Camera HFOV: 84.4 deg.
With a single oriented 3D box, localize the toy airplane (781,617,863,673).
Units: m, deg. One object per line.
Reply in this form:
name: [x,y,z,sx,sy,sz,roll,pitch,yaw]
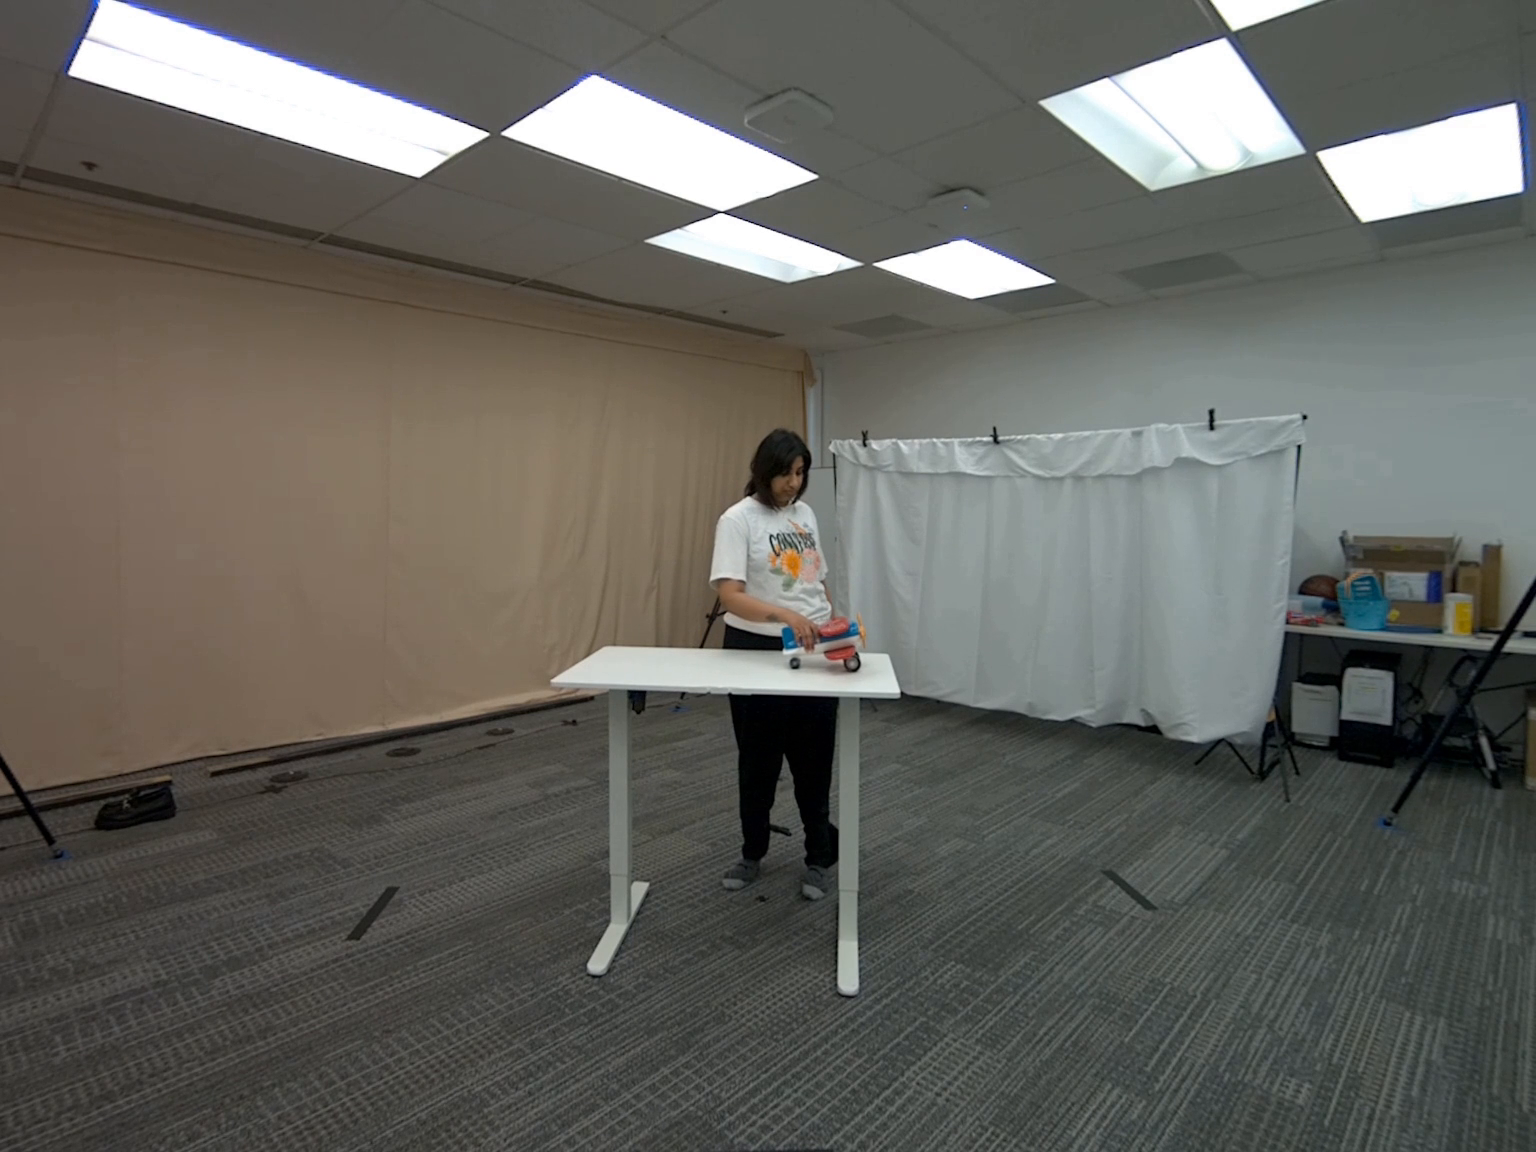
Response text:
toy airplane: [0.188,0.217,2.619,0.254,0.156,0.257,-1,6,-22]
